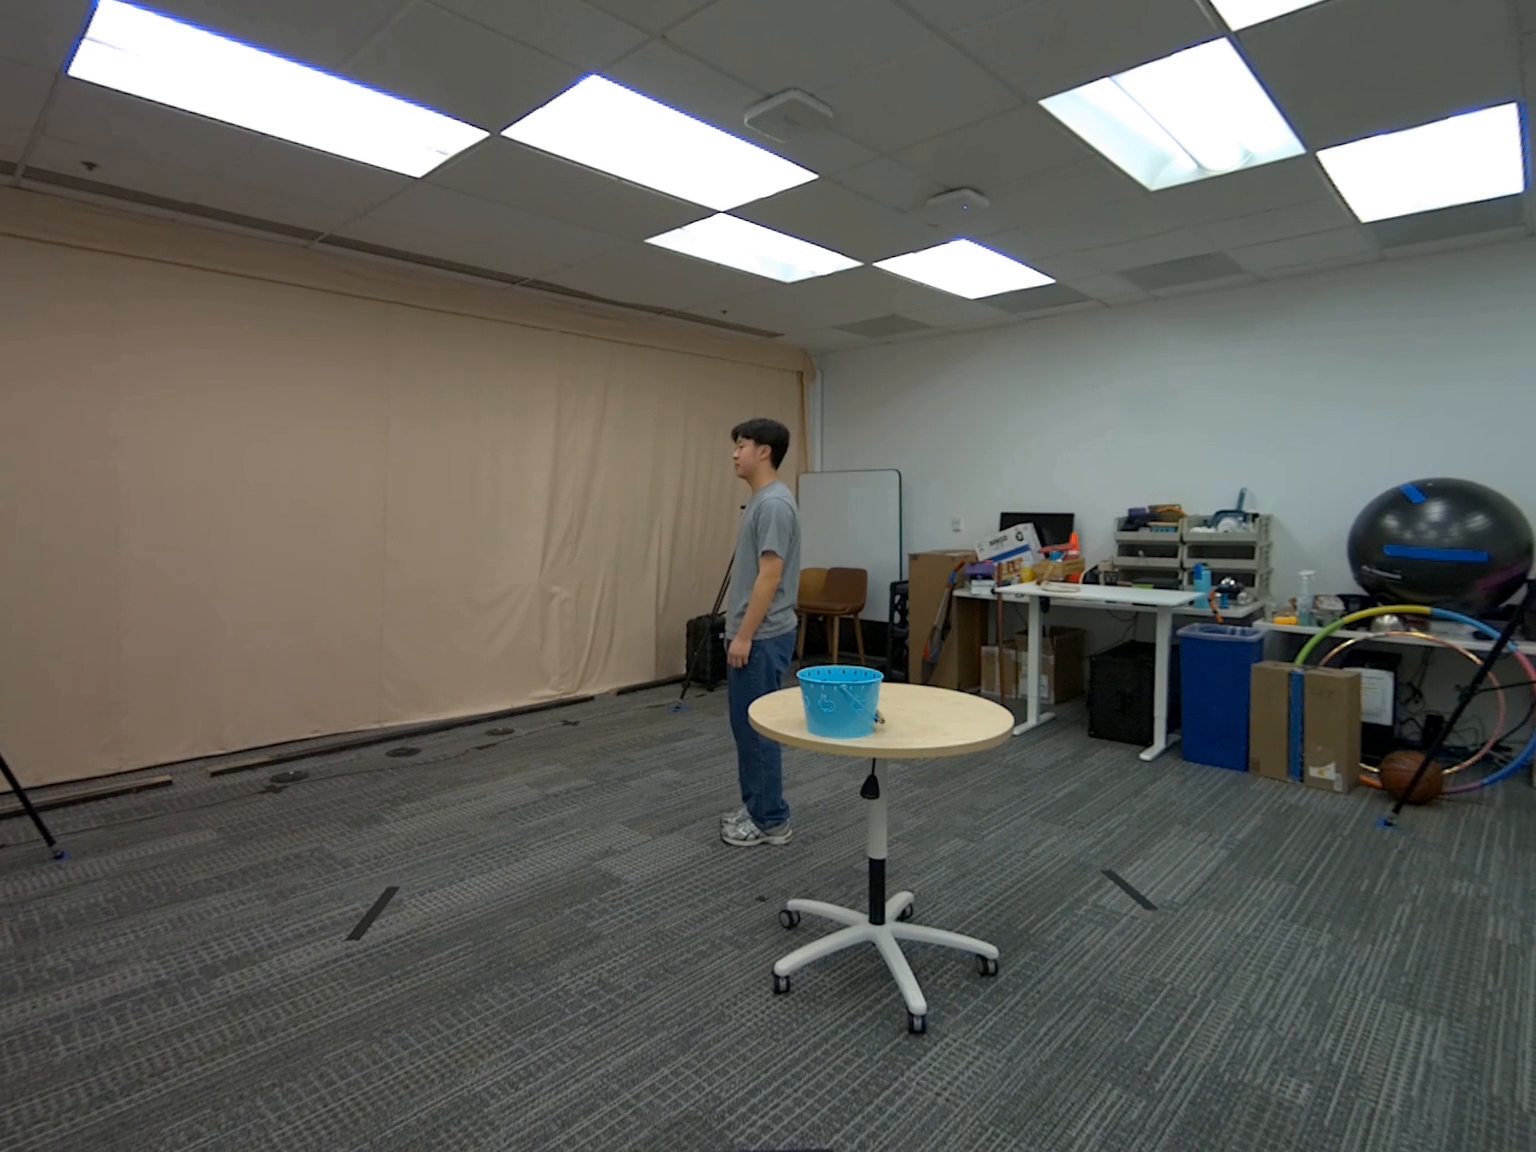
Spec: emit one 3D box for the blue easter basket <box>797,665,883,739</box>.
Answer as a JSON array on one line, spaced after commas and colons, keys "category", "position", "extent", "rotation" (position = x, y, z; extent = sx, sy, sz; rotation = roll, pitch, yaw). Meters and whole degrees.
[{"category": "blue easter basket", "position": [0.213, 0.348, 2.277], "extent": [0.243, 0.155, 0.244], "rotation": [0, 5, -2]}]
